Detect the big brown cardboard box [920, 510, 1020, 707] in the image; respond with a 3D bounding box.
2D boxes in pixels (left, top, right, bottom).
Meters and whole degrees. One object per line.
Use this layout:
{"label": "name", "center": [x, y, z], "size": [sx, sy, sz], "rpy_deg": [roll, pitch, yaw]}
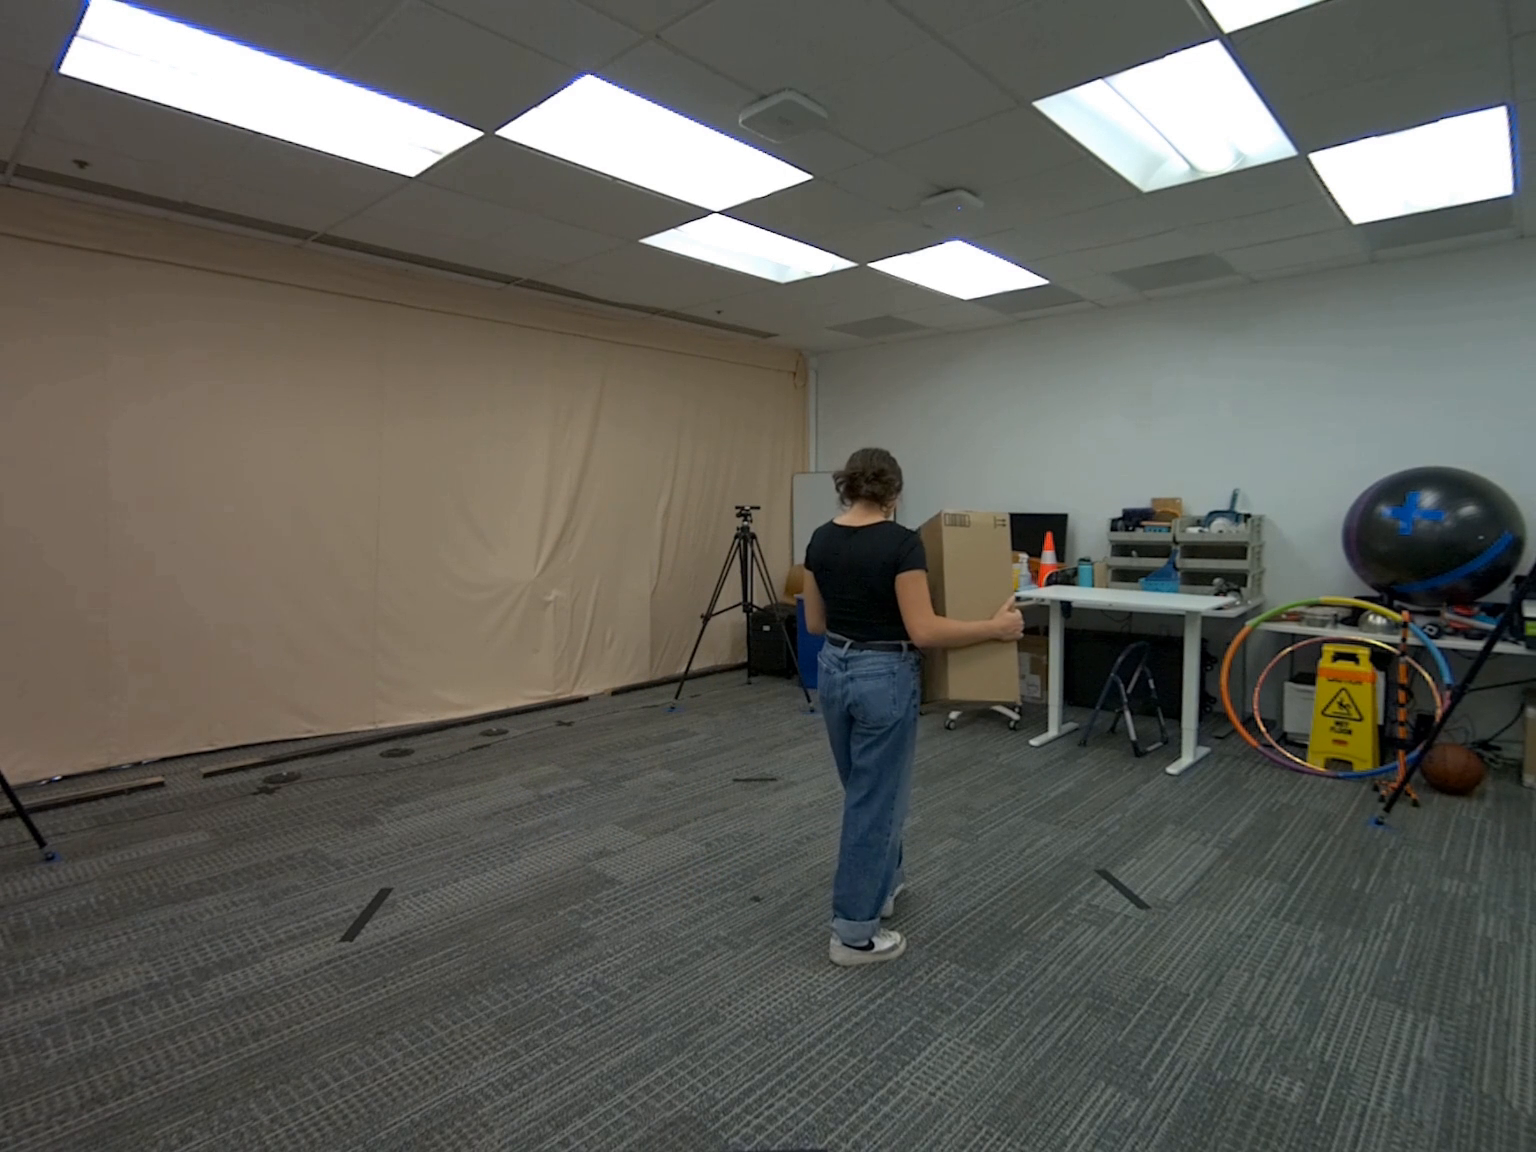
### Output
{"label": "big brown cardboard box", "center": [0.600, 0.122, 2.658], "size": [0.231, 0.593, 0.418], "rpy_deg": [4, -13, -8]}
